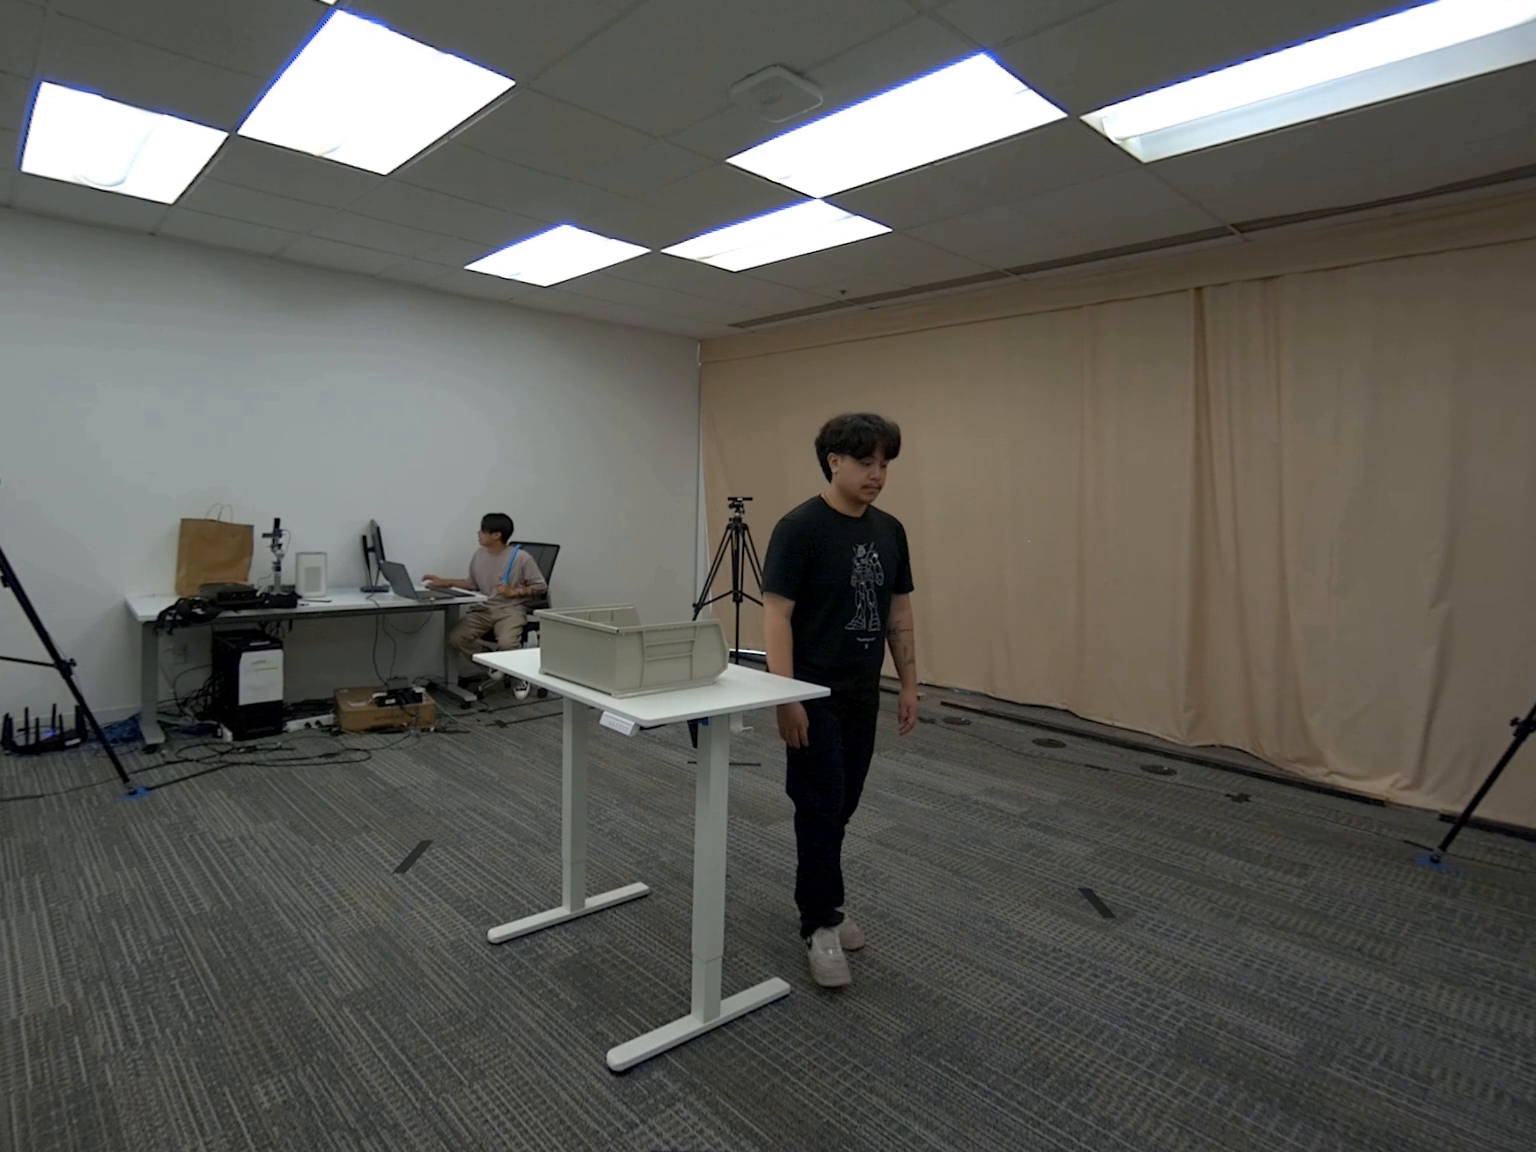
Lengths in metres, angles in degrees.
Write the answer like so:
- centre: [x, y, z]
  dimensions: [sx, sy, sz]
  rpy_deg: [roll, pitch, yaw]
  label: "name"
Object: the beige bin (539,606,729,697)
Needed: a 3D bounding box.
- centre: [-0.390, 0.199, 2.355]
  dimensions: [0.369, 0.188, 0.433]
  rpy_deg: [-3, 6, -42]
  label: "beige bin"
